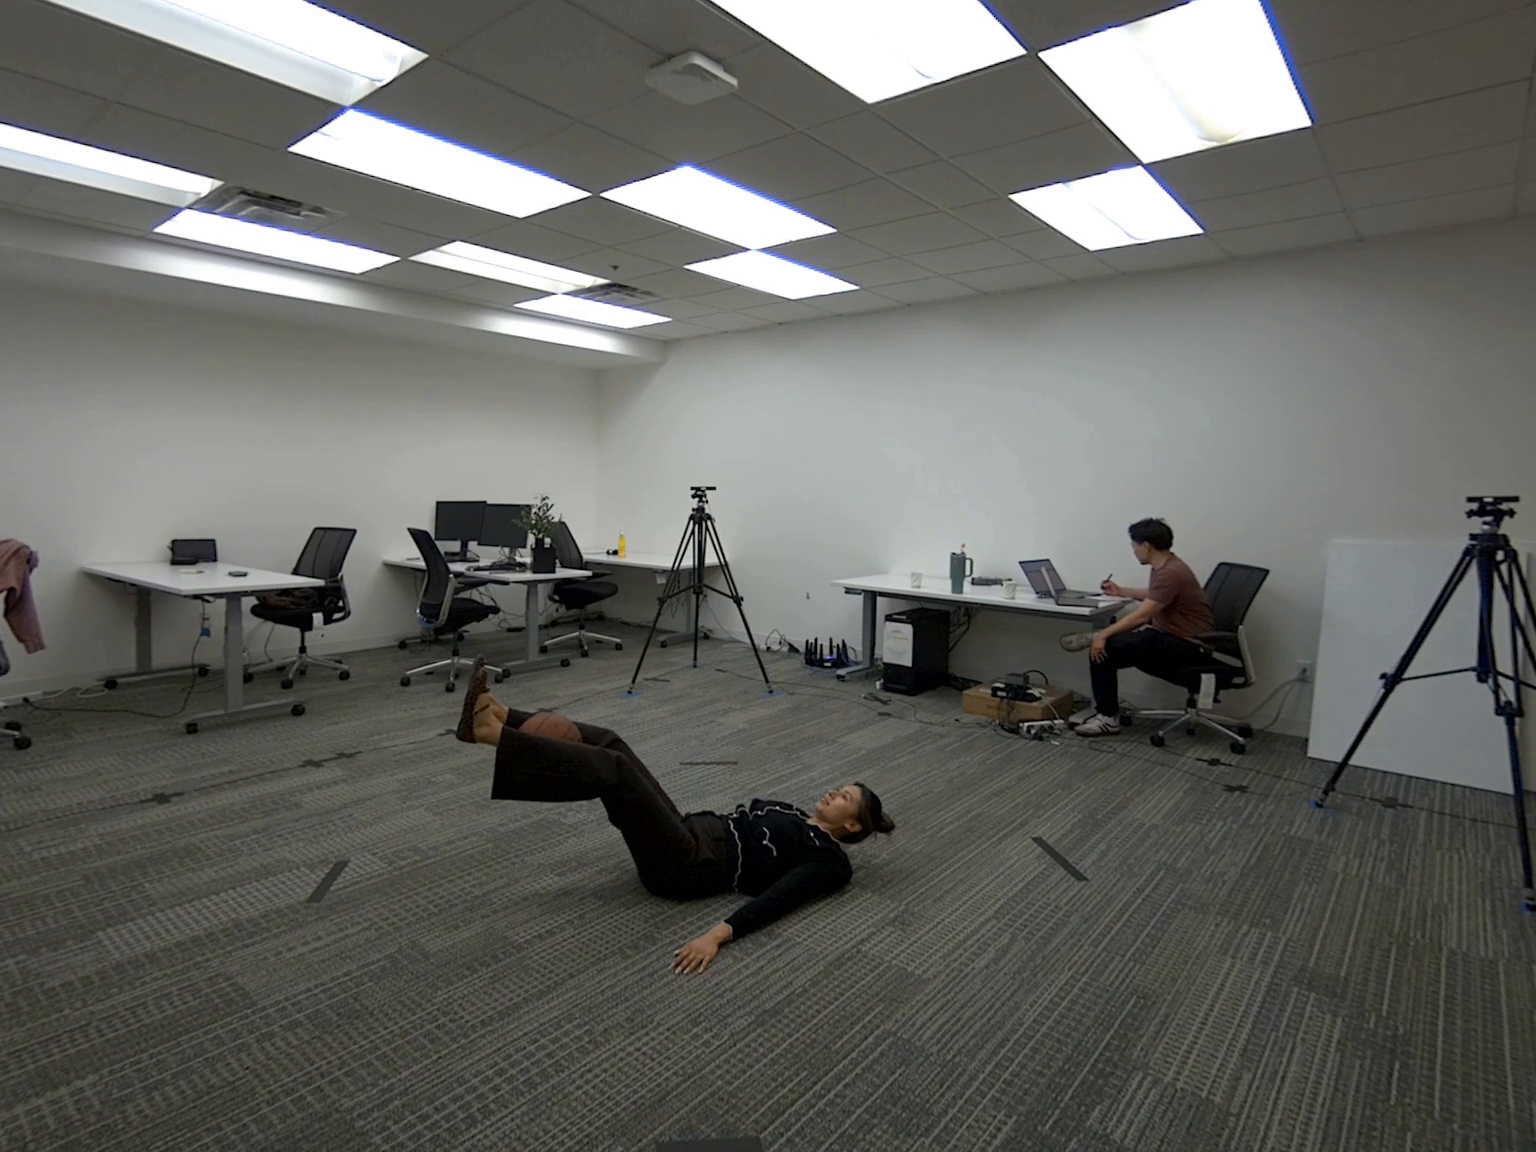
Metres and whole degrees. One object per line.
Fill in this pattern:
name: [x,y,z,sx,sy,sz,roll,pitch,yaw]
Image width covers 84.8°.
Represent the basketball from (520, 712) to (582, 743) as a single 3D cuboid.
basketball: [-0.754,0.587,2.900,0.236,0.235,0.237,1,4,-2]
